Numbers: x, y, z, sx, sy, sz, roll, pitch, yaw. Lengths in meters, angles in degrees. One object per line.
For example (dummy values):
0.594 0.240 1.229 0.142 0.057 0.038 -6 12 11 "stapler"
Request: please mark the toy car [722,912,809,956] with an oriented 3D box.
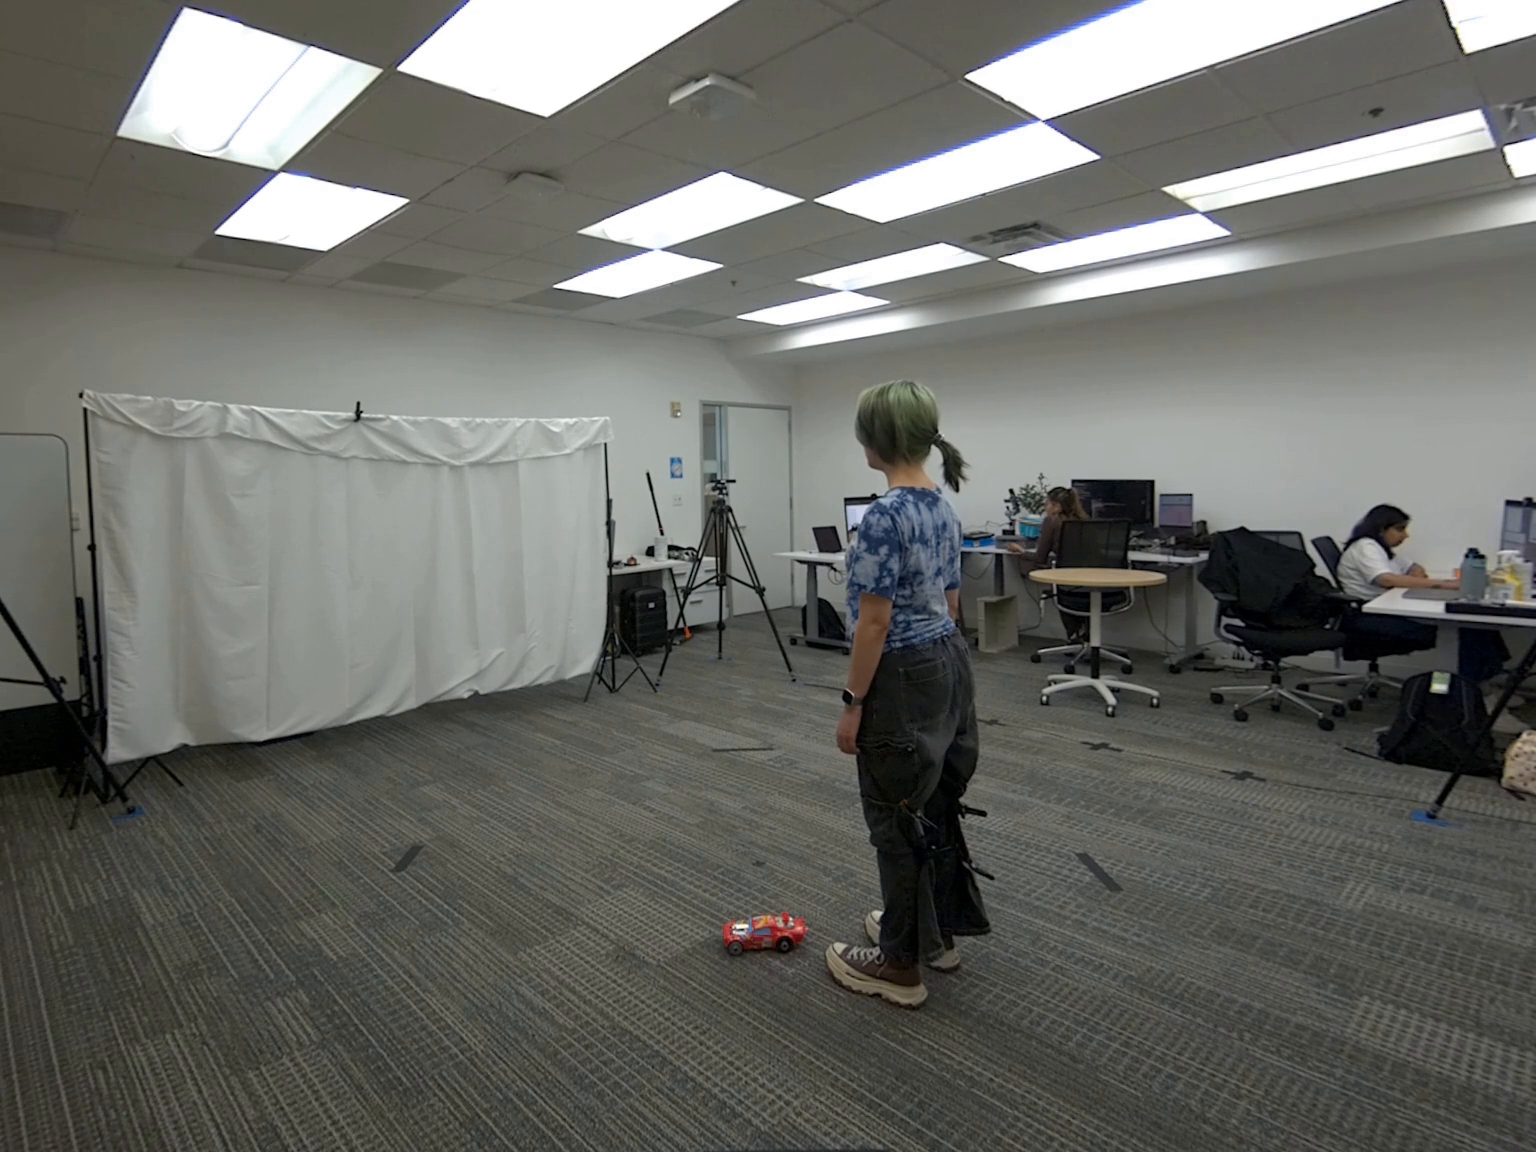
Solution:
-0.003 1.079 2.566 0.254 0.083 0.131 -13 5 -2 "toy car"
